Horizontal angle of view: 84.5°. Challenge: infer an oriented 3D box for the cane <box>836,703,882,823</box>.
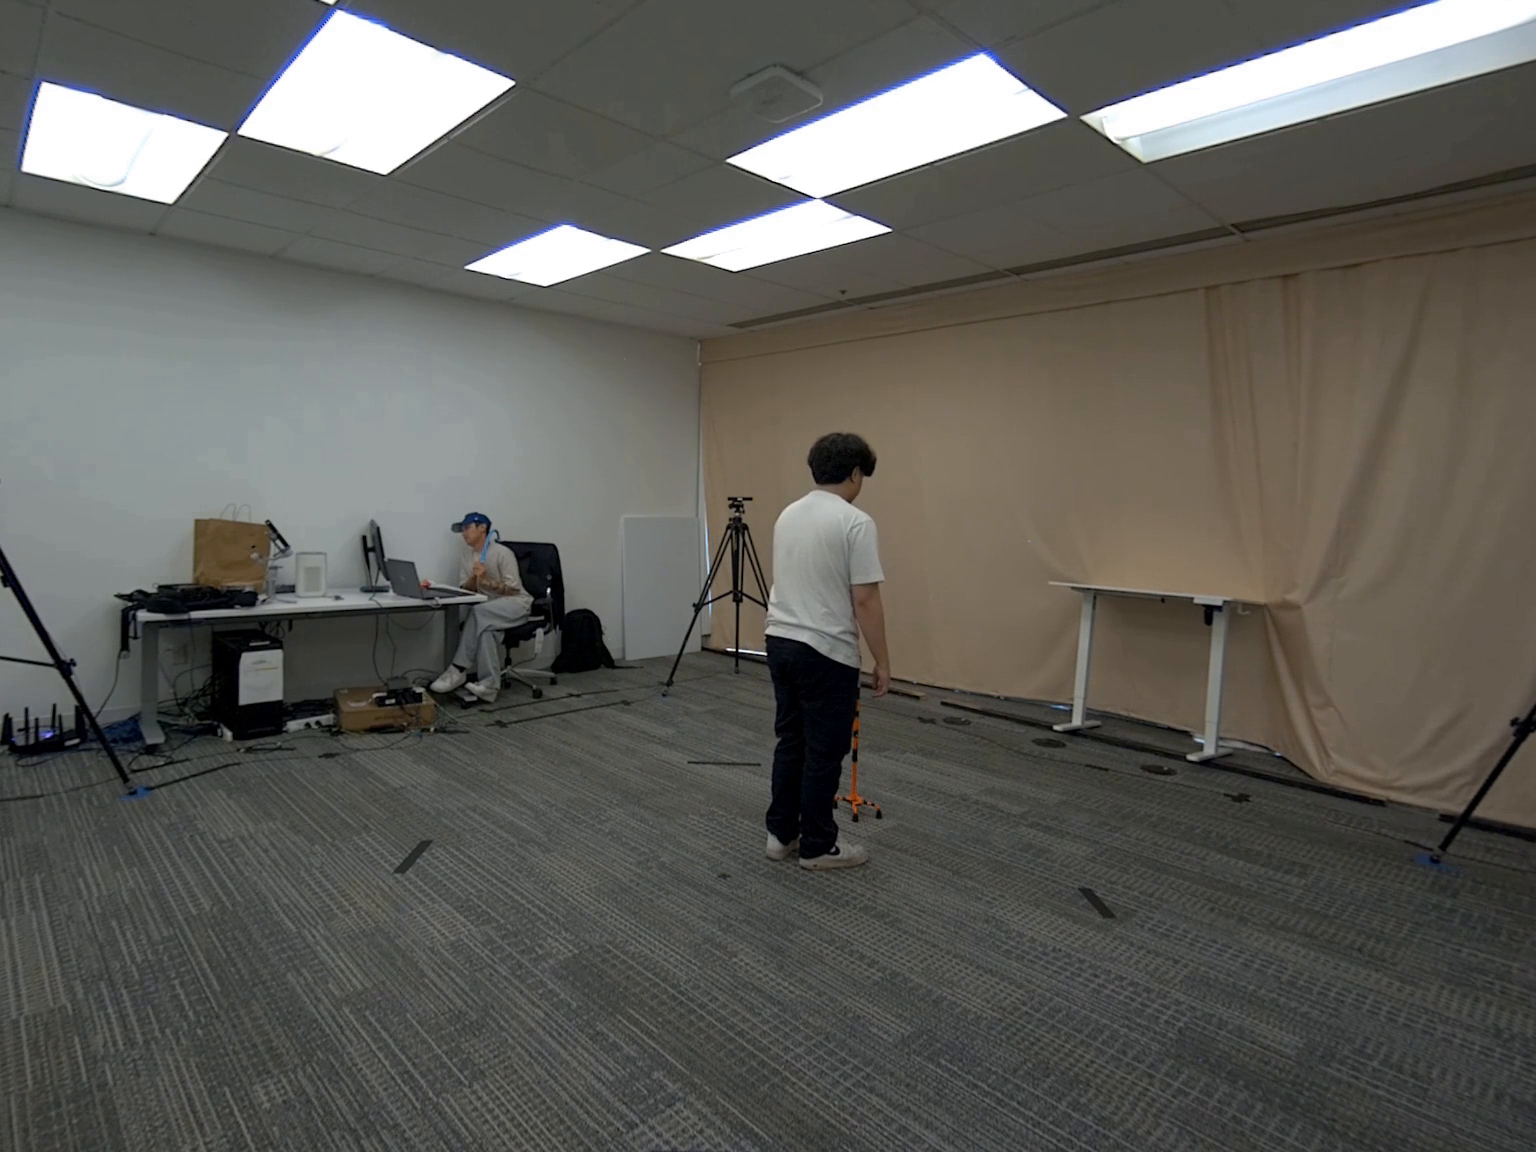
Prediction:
[{"bbox_3d":[0.408,0.618,3.773,0.149,0.908,0.210,2,0,-24],"label":"cane"}]
